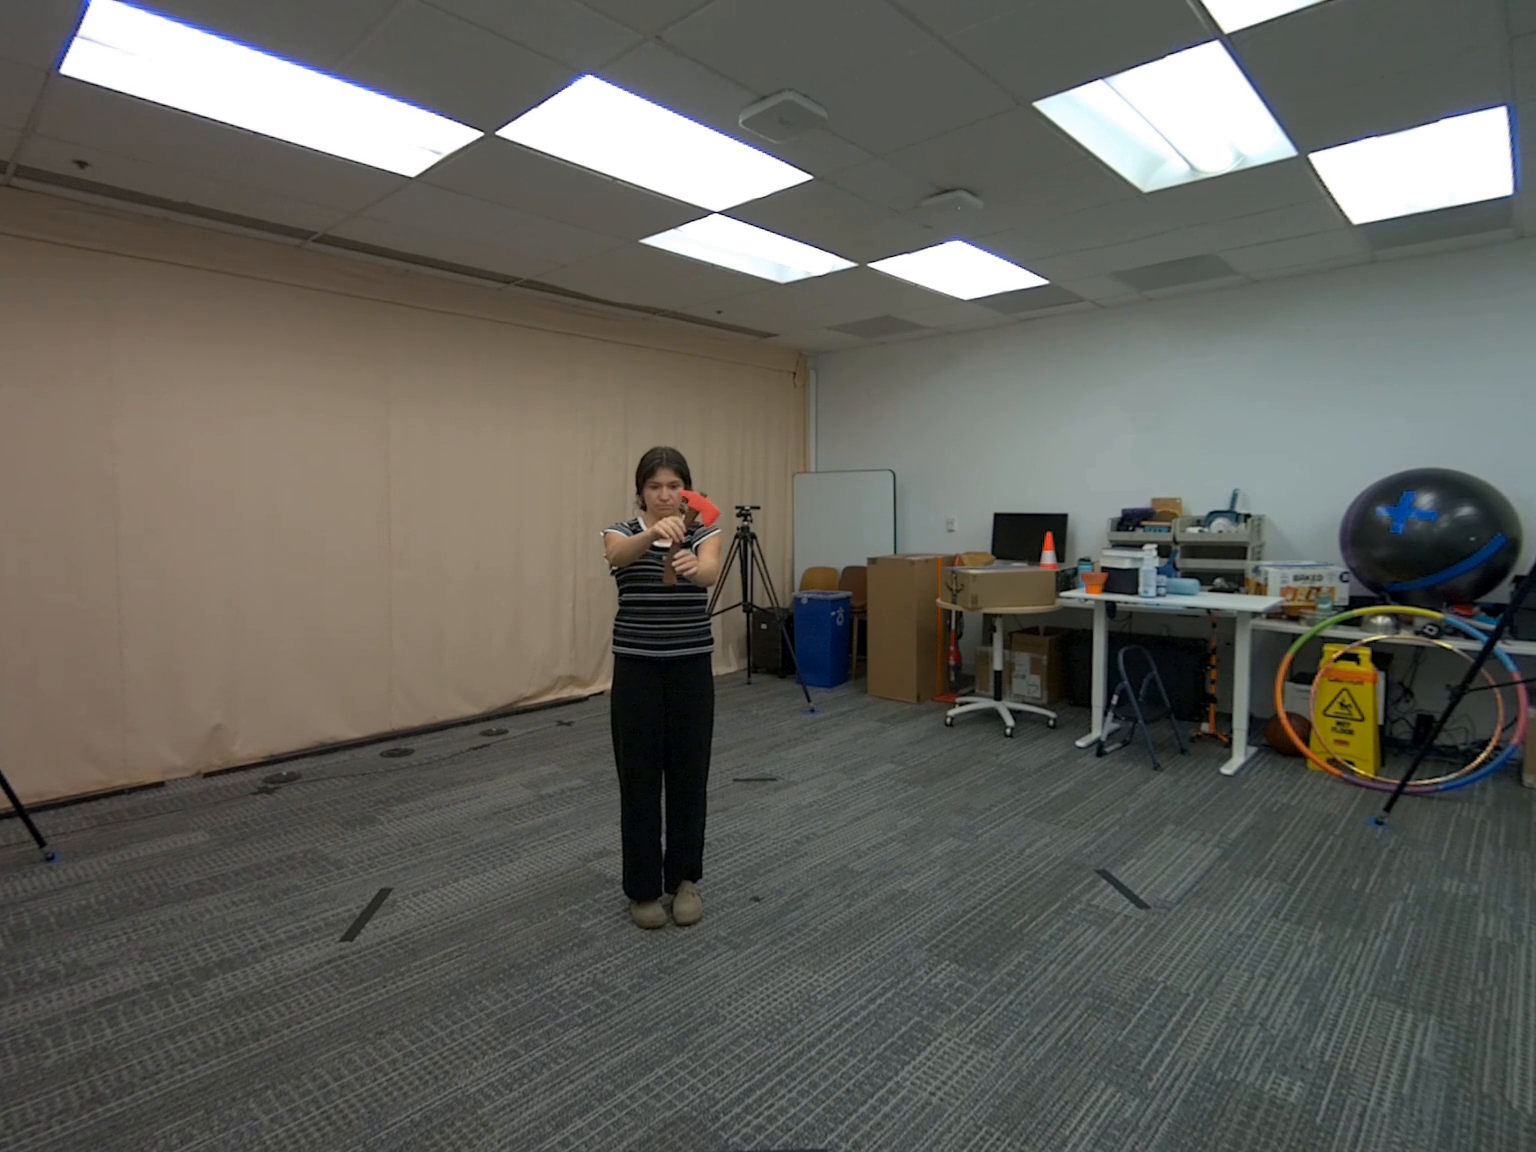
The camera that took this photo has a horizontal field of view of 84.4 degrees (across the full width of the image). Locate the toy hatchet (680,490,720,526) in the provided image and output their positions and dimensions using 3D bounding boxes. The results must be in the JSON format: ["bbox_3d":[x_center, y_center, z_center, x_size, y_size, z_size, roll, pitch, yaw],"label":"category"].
[{"bbox_3d":[-0.202,-0.095,2.319,0.132,0.270,0.029,10,1,5],"label":"toy hatchet"}]
